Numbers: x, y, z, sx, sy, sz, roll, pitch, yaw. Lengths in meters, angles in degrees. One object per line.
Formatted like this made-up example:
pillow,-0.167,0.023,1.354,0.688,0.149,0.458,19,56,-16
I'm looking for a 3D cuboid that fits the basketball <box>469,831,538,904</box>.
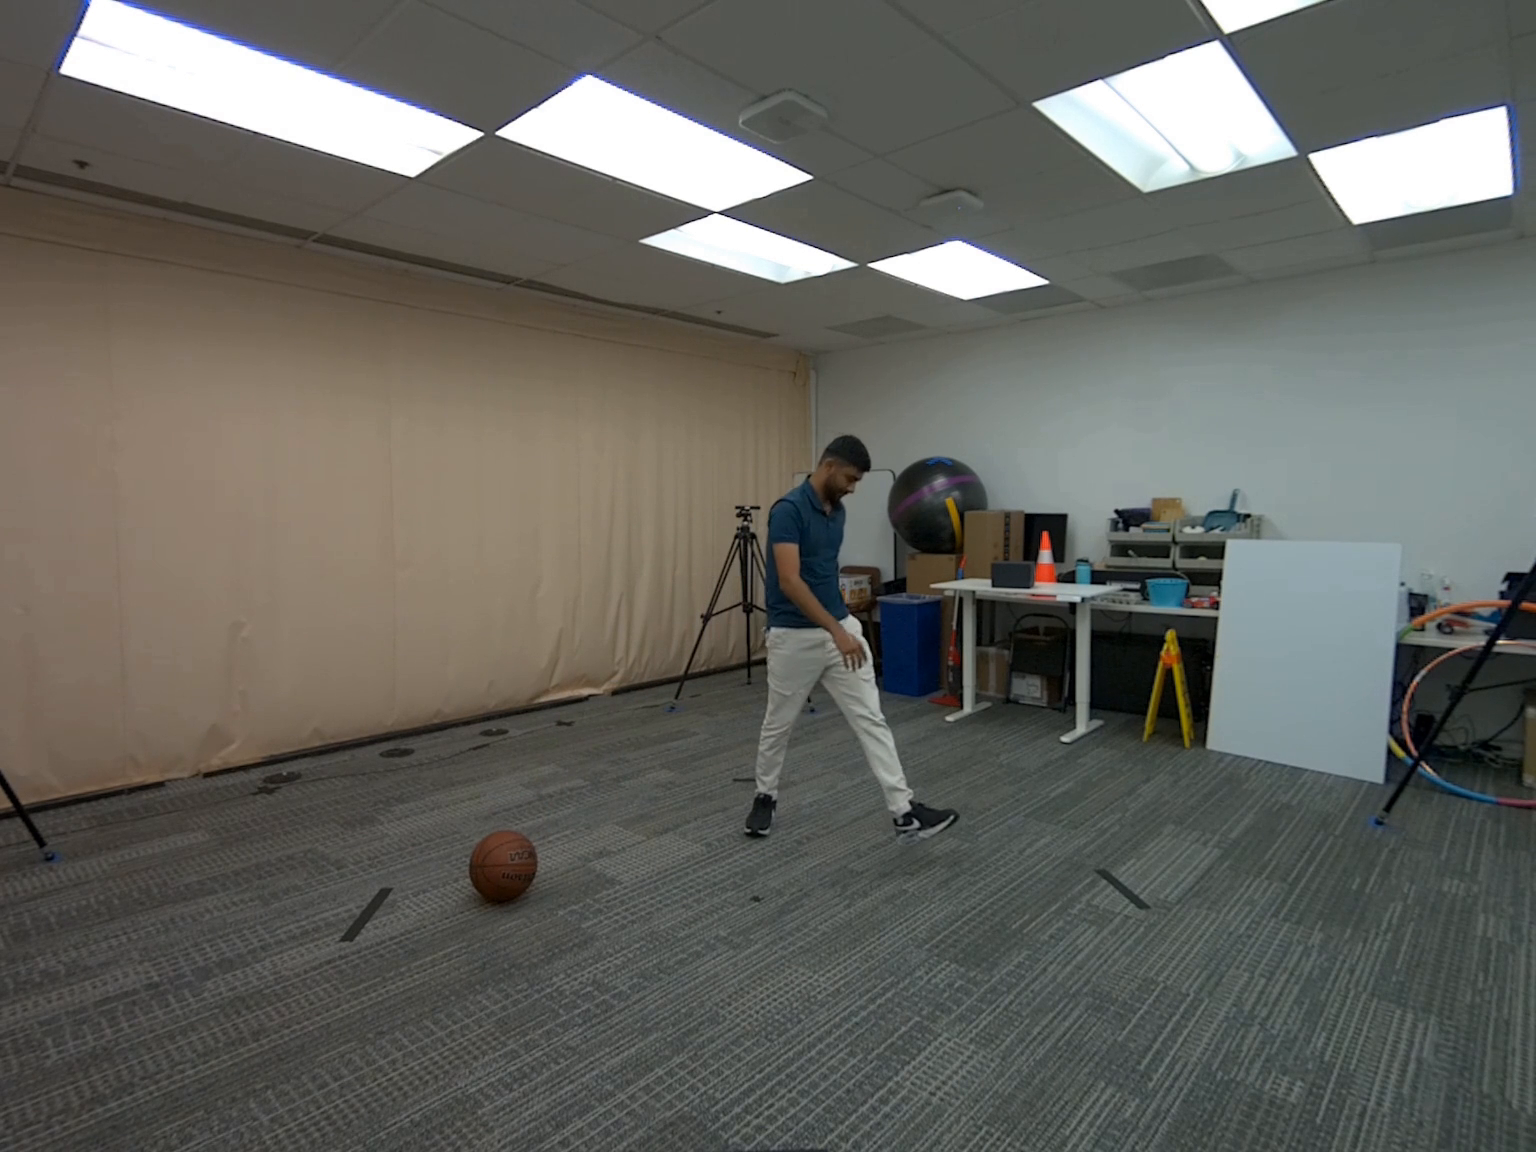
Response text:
basketball,-0.945,1.030,2.995,0.236,0.235,0.237,0,4,-2
